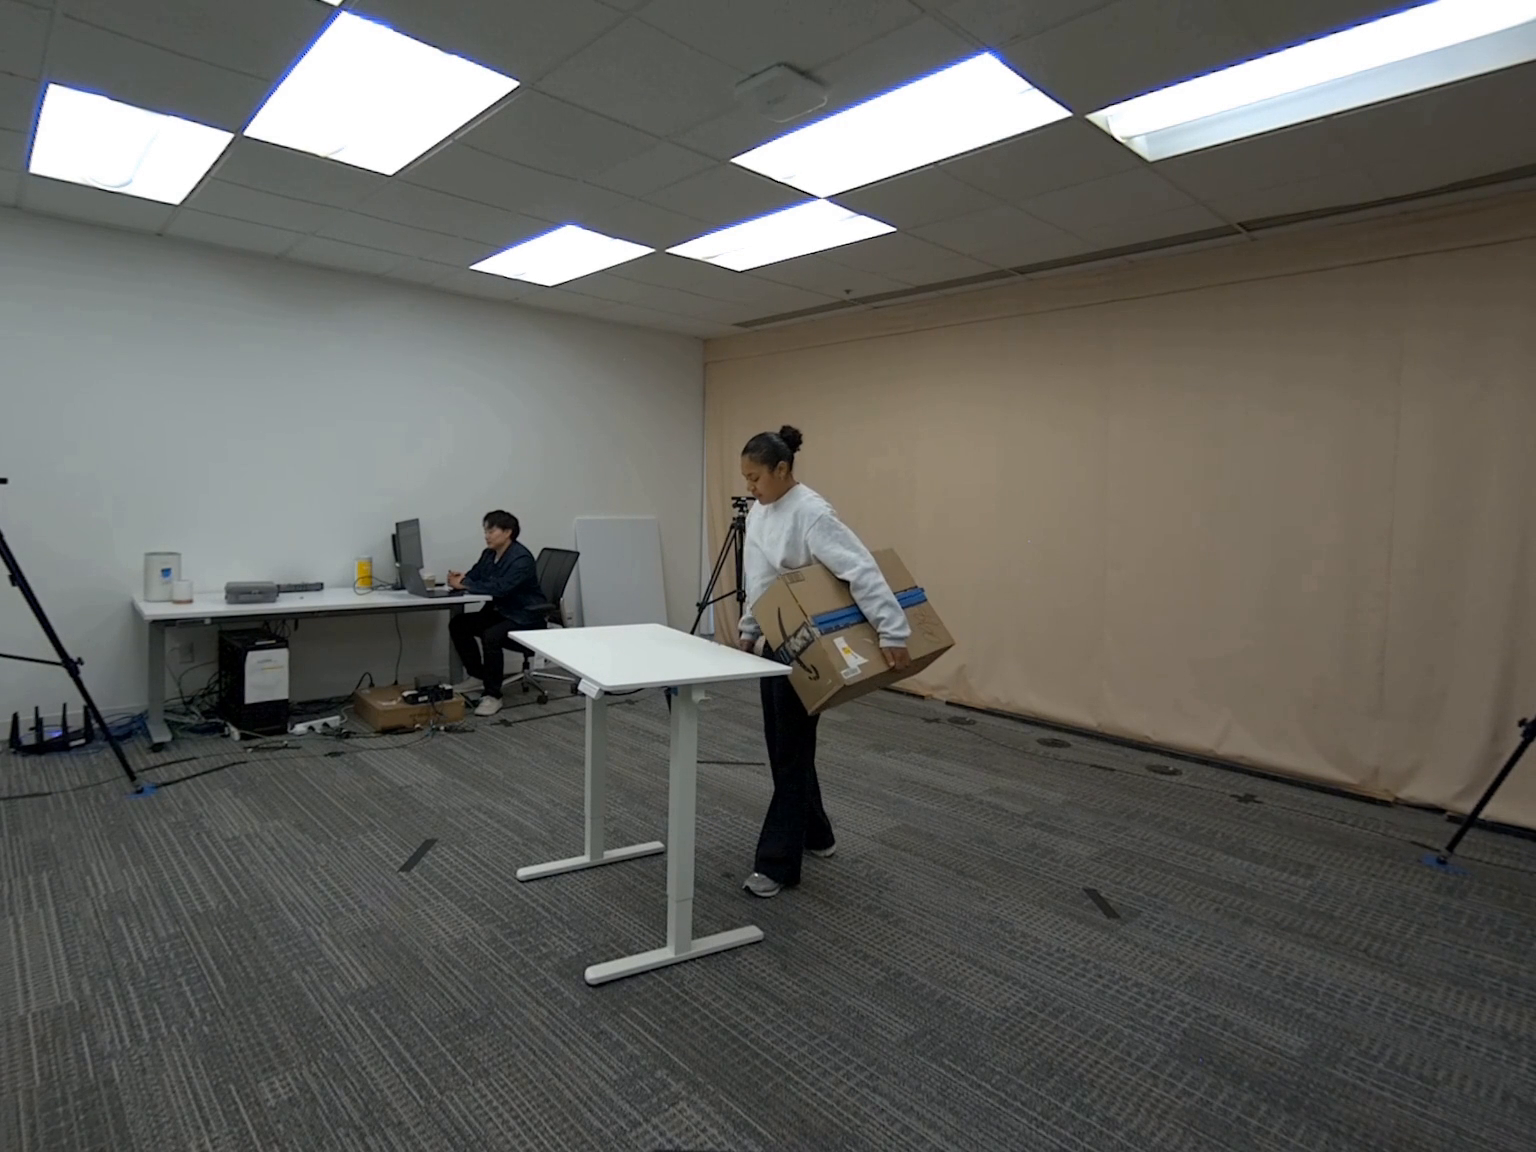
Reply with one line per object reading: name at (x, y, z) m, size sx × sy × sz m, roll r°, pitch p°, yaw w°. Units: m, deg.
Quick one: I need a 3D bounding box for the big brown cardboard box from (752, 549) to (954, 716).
big brown cardboard box at (0.279, 0.171, 2.867) m, size 0.578 × 0.426 × 0.232 m, roll -13°, pitch -28°, yaw -40°
